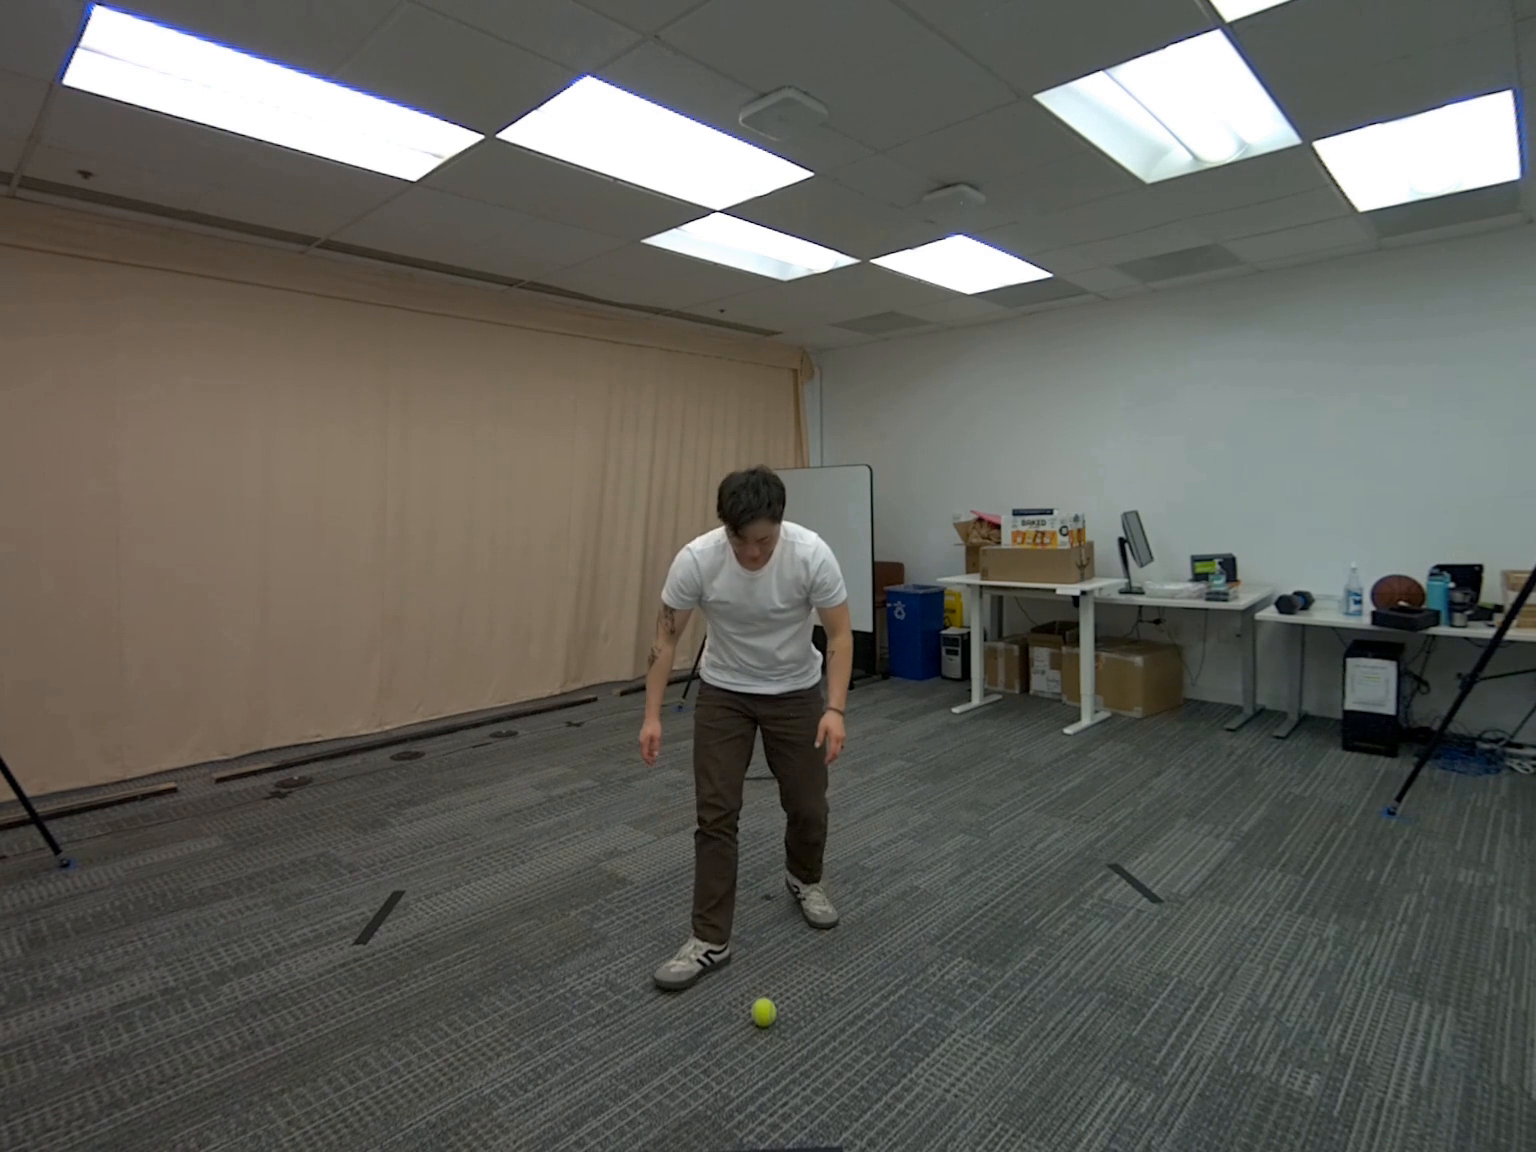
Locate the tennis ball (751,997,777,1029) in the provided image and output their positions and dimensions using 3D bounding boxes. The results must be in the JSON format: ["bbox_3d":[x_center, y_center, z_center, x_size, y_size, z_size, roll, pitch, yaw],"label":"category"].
[{"bbox_3d":[-0.008,1.161,2.239,0.066,0.066,0.067,-1,4,-2],"label":"tennis ball"}]
